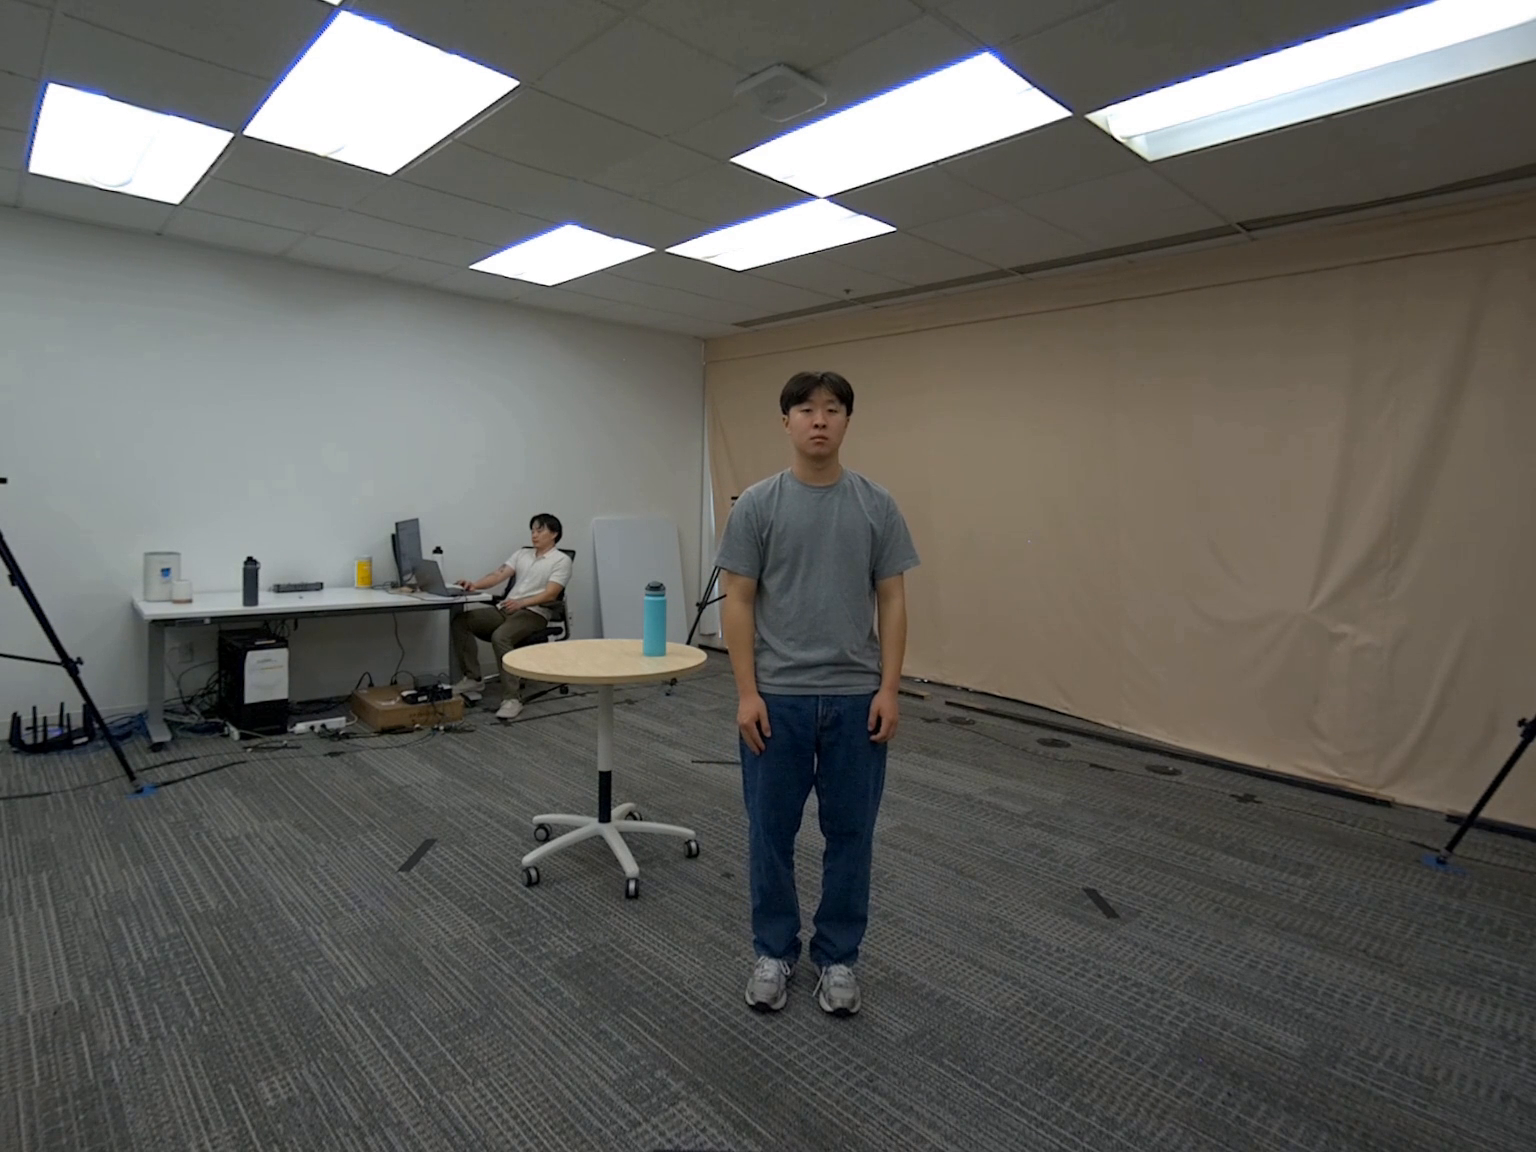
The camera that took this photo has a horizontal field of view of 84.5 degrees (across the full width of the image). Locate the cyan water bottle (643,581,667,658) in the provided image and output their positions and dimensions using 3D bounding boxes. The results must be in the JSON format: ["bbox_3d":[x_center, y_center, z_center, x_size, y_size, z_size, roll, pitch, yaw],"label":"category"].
[{"bbox_3d":[-0.444,0.163,3.231,0.092,0.283,0.092,2,2,-1],"label":"cyan water bottle"}]
